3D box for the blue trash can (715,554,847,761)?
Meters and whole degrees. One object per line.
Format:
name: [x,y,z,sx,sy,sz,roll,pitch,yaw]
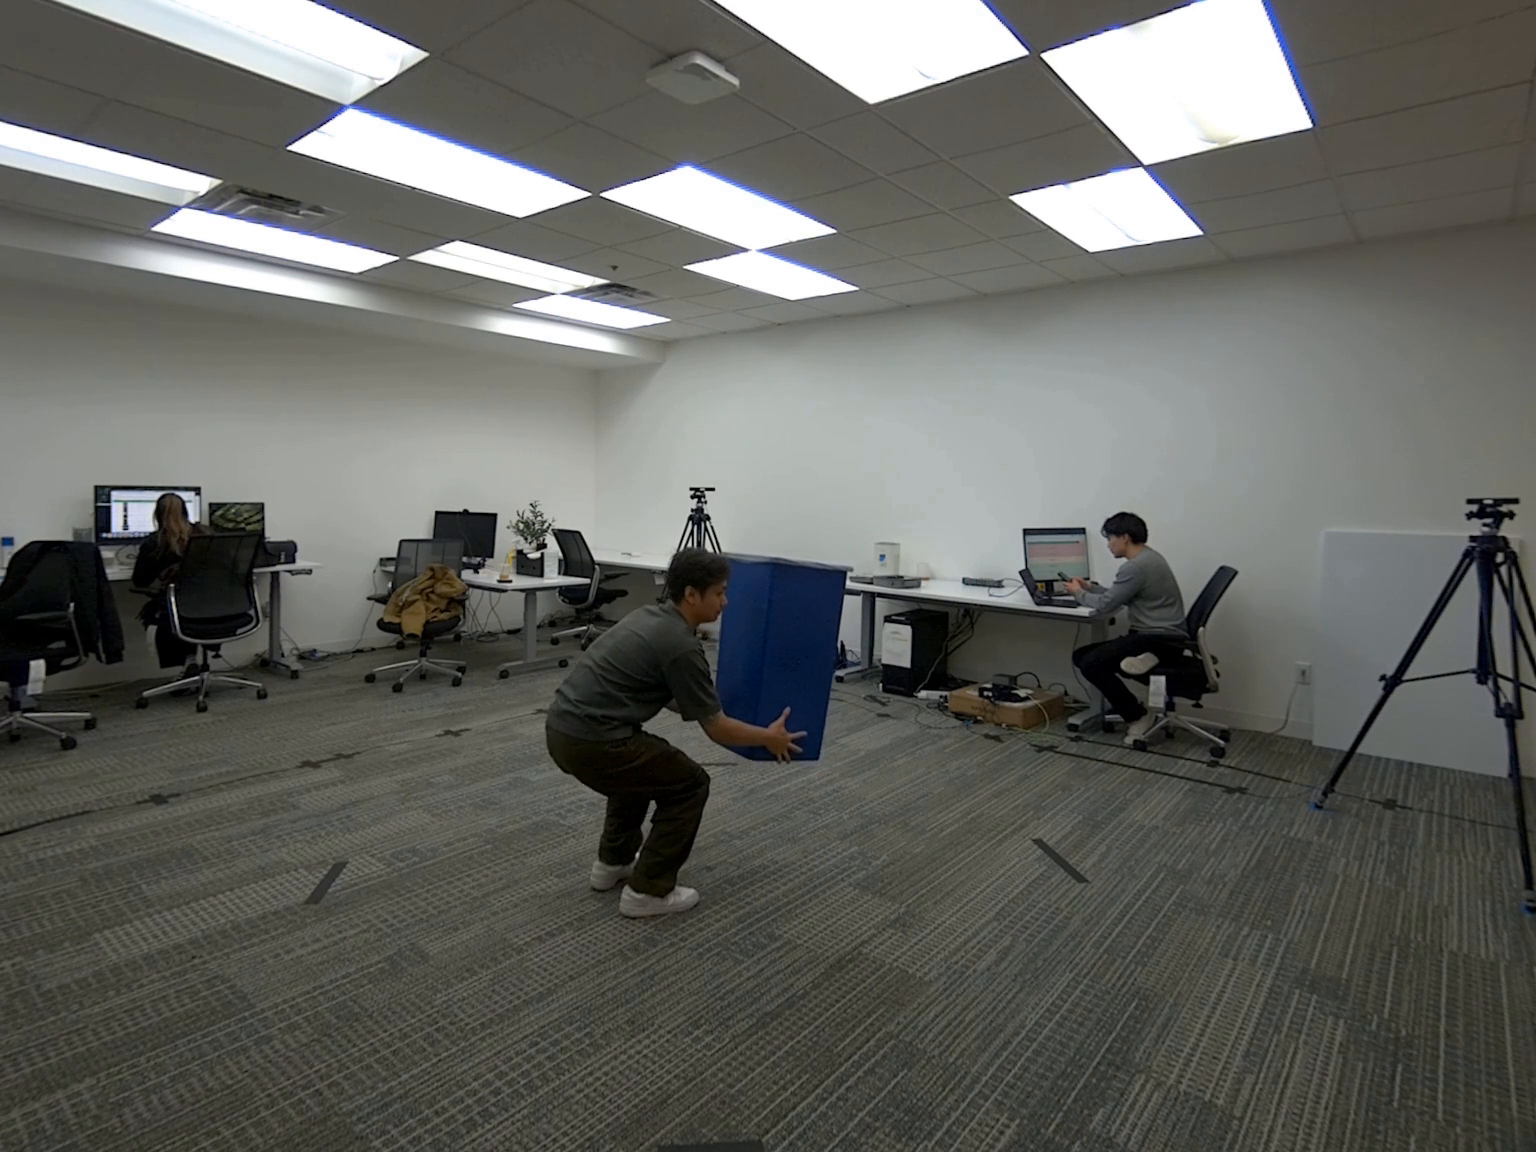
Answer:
blue trash can: [0.009,0.282,3.142,0.366,0.714,0.385,8,-1,-32]
